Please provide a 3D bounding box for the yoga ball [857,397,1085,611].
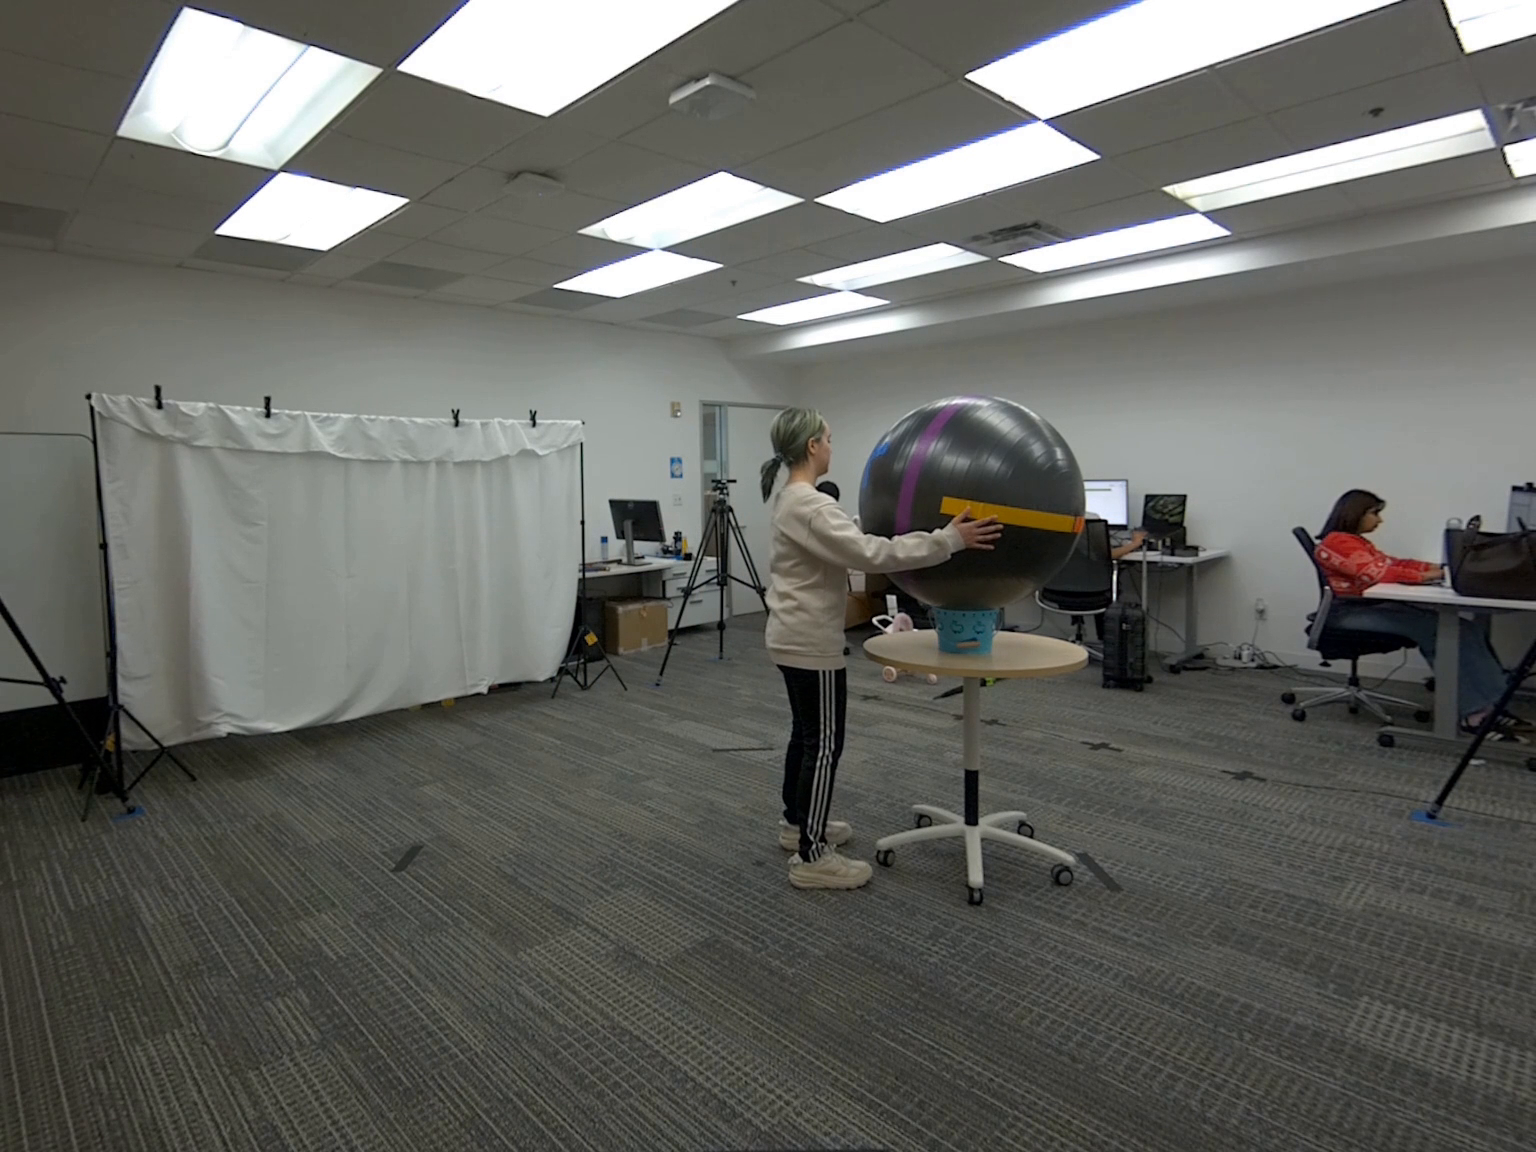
[{"bbox_3d":[0.704,-0.248,2.986,0.757,0.755,0.762,-1,5,-2],"label":"yoga ball"}]
